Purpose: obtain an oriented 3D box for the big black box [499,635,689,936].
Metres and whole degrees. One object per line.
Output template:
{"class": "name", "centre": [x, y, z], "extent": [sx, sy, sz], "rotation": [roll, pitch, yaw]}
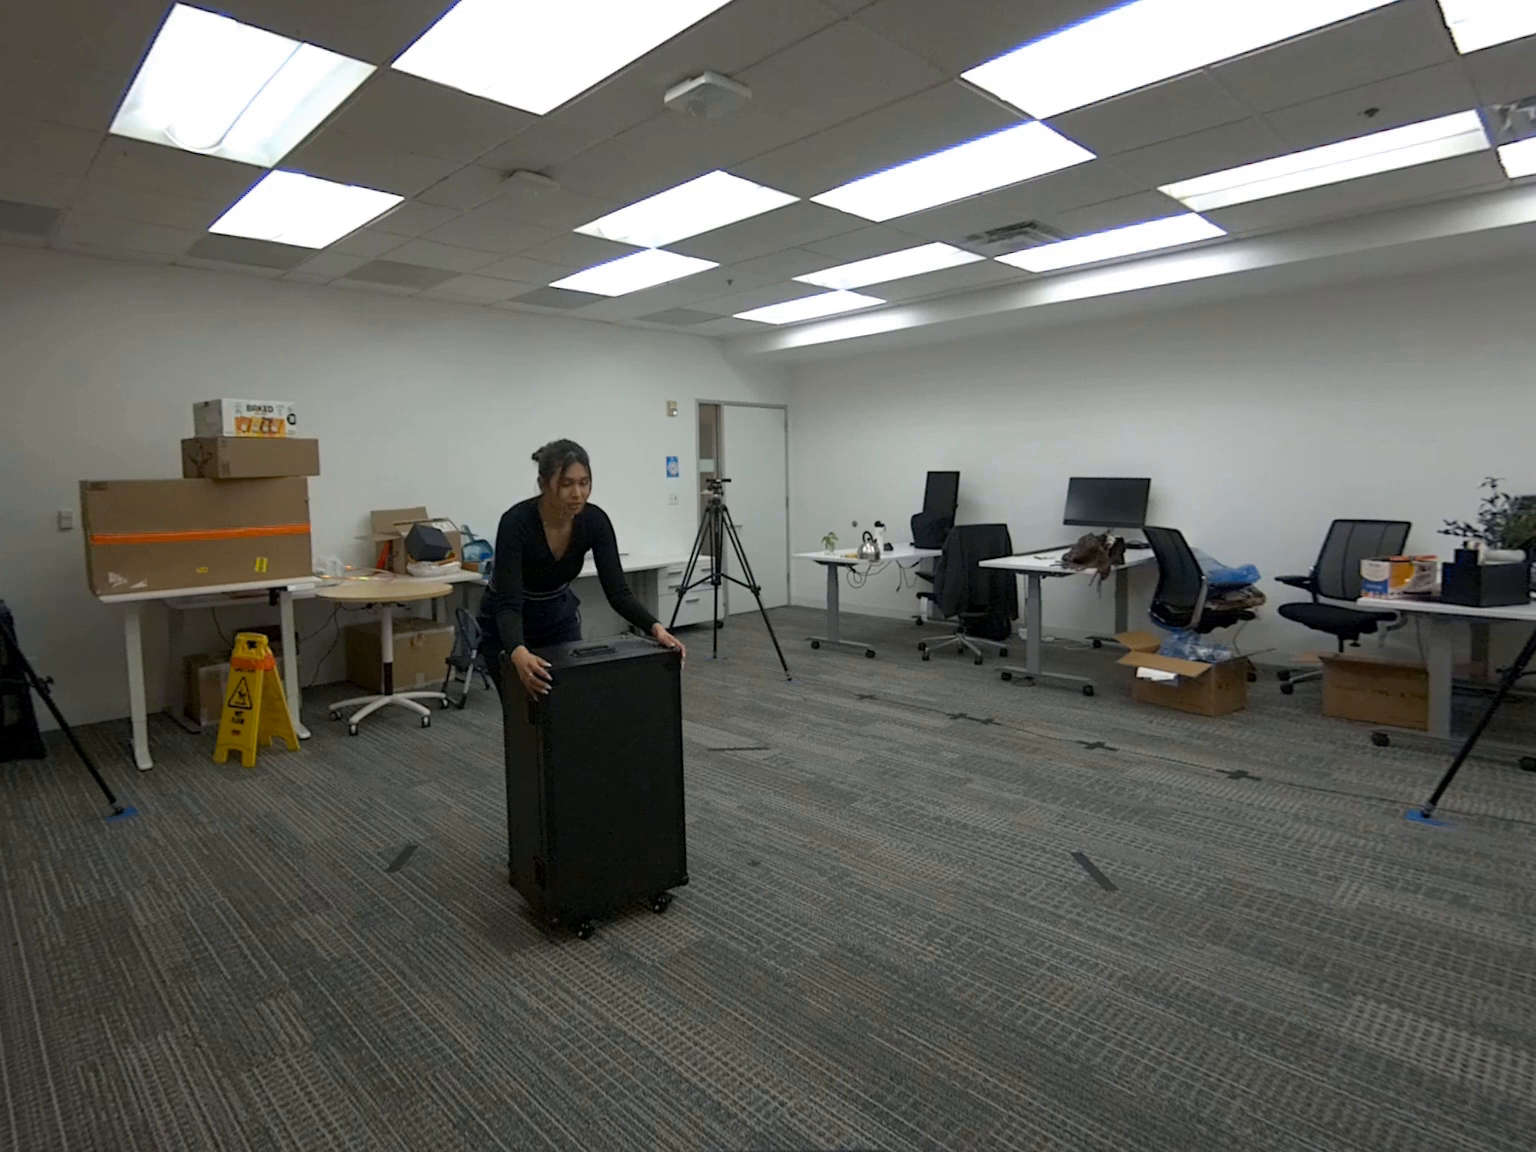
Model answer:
{"class": "big black box", "centre": [-0.574, 0.664, 2.797], "extent": [0.508, 0.859, 0.407], "rotation": [-4, 3, -34]}
